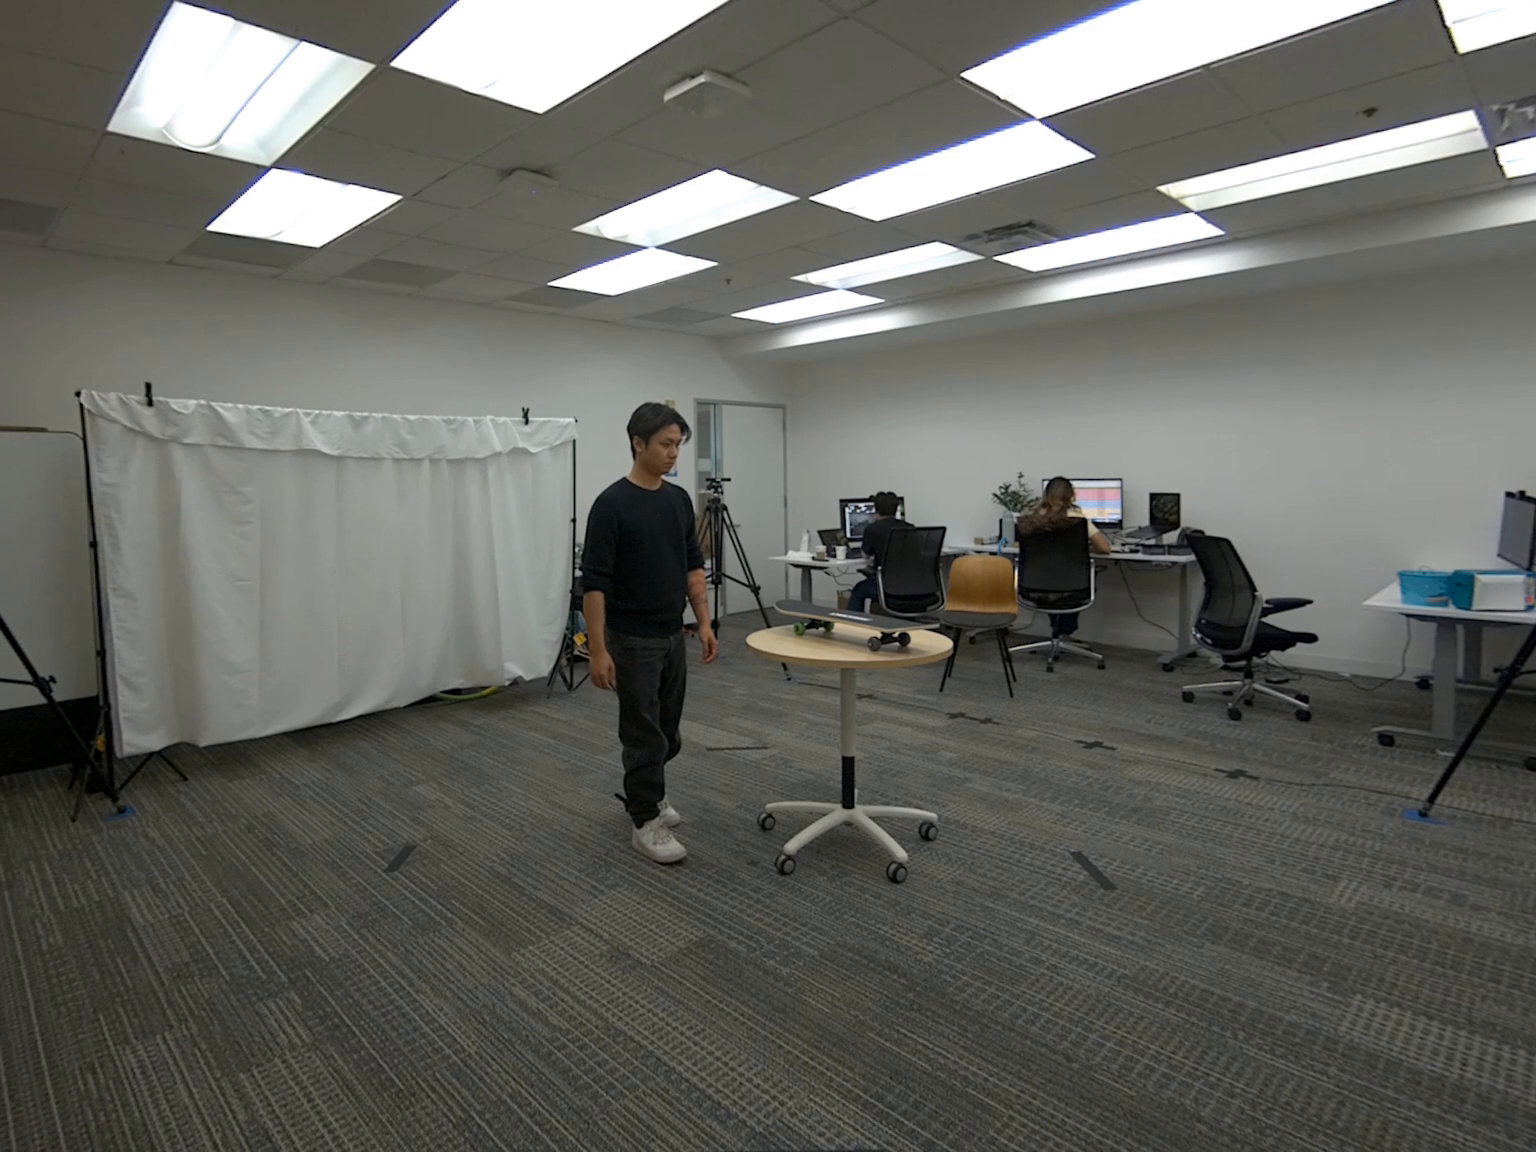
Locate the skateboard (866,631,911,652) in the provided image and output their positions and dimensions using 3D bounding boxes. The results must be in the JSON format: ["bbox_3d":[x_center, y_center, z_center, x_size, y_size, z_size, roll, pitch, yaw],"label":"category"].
[{"bbox_3d":[0.308,0.193,3.190,0.188,0.110,0.810,-6,9,-37],"label":"skateboard"}]
